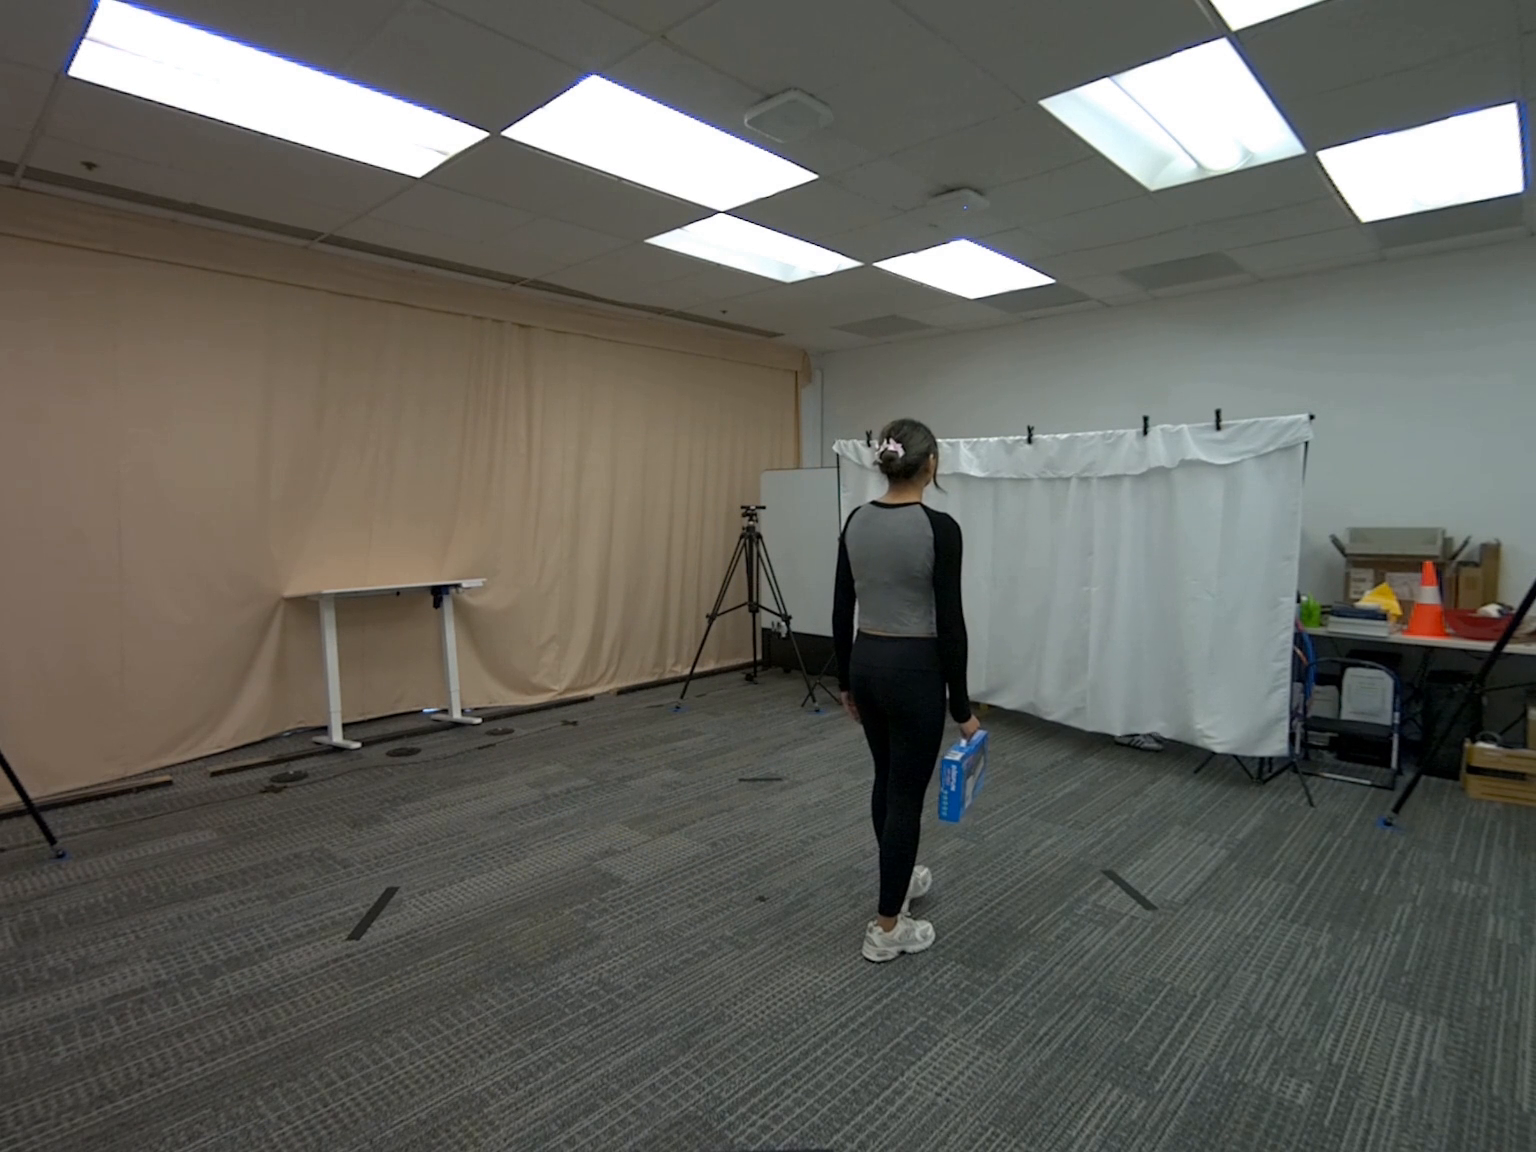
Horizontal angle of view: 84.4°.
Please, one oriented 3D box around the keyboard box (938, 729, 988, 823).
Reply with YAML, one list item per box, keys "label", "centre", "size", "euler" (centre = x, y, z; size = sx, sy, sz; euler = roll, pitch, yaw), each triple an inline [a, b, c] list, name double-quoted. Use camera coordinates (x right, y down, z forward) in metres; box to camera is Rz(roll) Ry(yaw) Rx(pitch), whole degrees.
- label: "keyboard box"
  centre: [0.597, 0.591, 2.537]
  size: [0.060, 0.176, 0.426]
  euler: [3, 4, 24]
